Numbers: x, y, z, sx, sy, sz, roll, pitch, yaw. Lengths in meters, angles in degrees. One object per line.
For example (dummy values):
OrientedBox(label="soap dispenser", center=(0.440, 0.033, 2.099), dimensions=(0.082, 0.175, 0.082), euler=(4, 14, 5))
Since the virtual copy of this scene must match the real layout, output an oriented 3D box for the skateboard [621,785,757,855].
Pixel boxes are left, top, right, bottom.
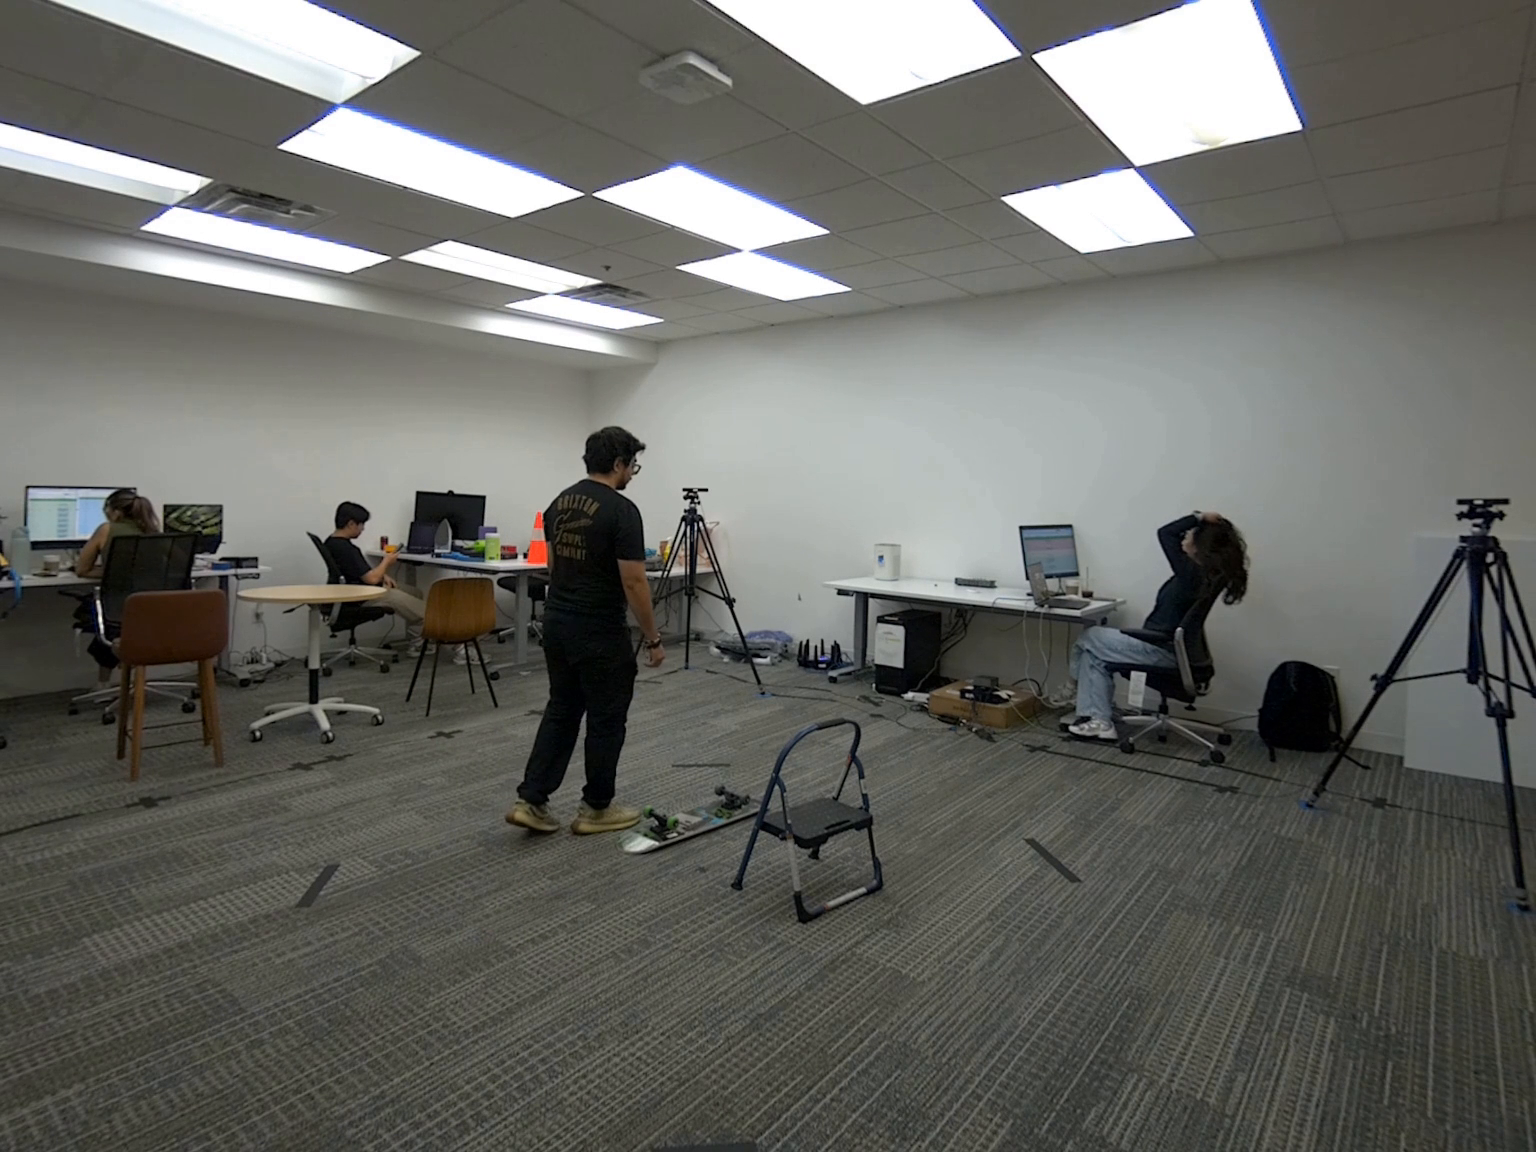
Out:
OrientedBox(label="skateboard", center=(-0.297, 0.982, 3.512), dimensions=(0.762, 0.110, 0.200), euler=(-5, 7, -44))
